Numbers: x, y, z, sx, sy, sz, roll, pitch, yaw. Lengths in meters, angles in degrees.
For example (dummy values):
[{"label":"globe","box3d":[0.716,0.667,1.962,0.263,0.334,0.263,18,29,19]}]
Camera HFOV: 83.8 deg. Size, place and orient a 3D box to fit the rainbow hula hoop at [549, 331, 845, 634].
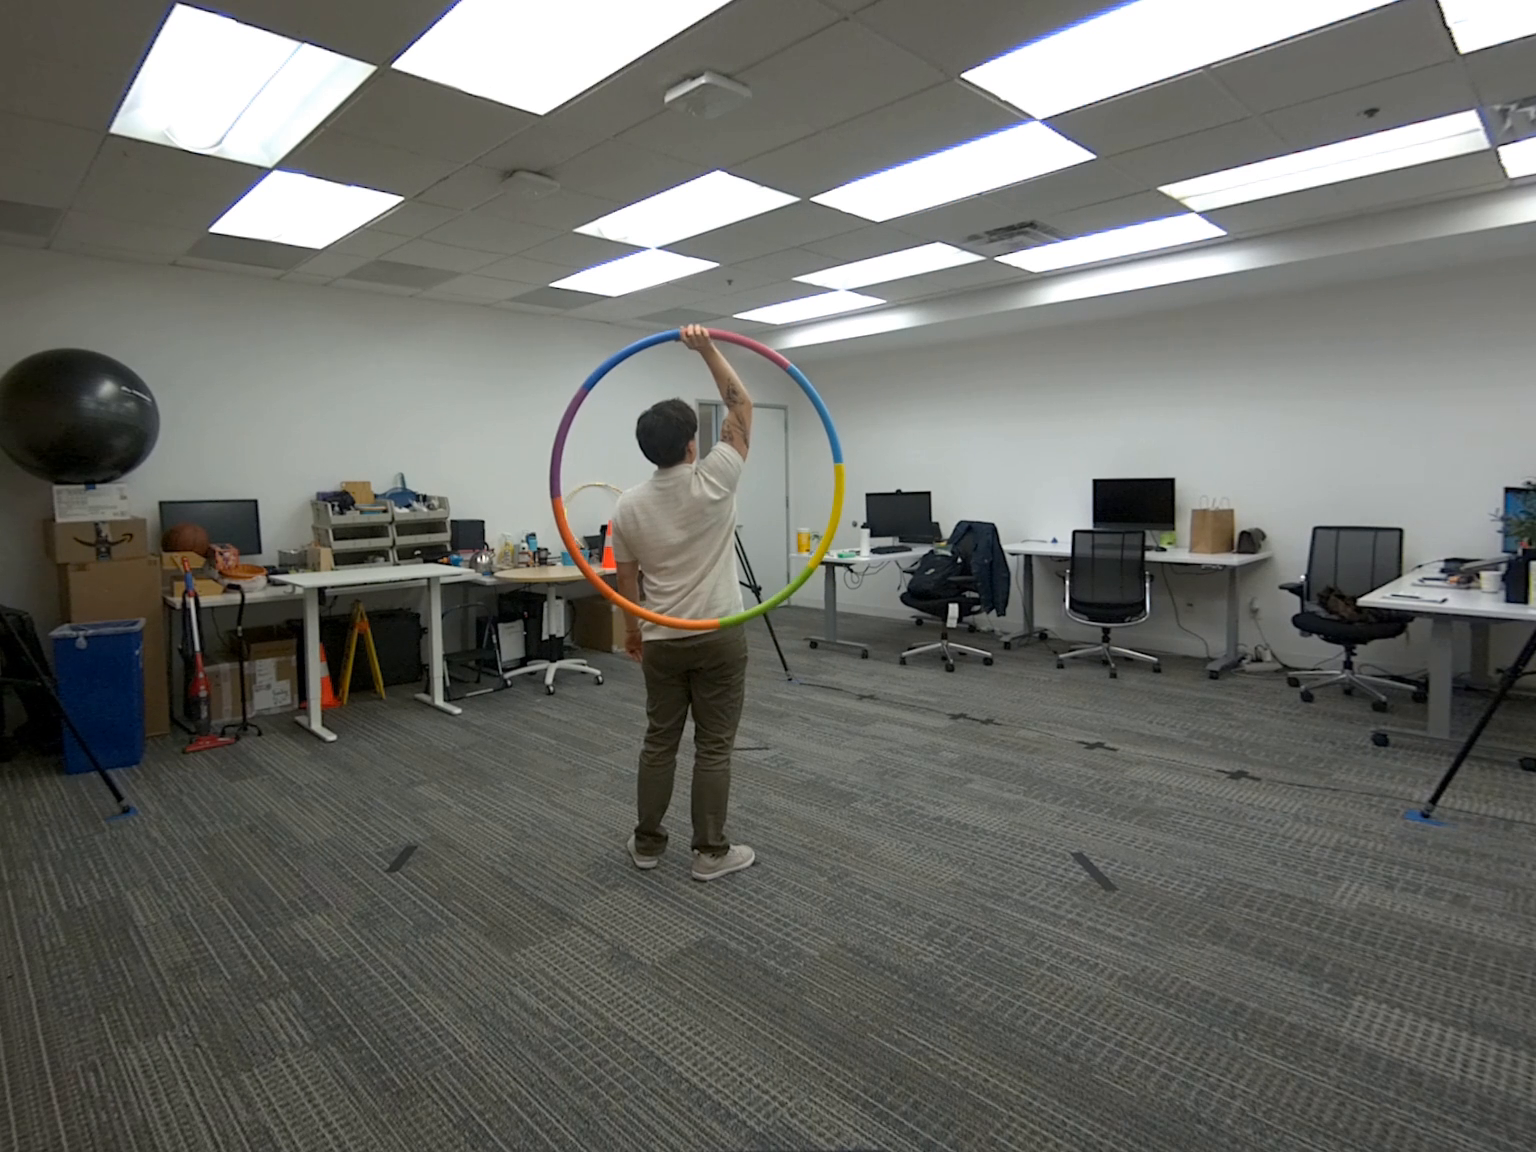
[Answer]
[{"label":"rainbow hula hoop","box3d":[-0.225,-0.312,2.825,0.968,0.977,0.036,-2,2,-11]}]
